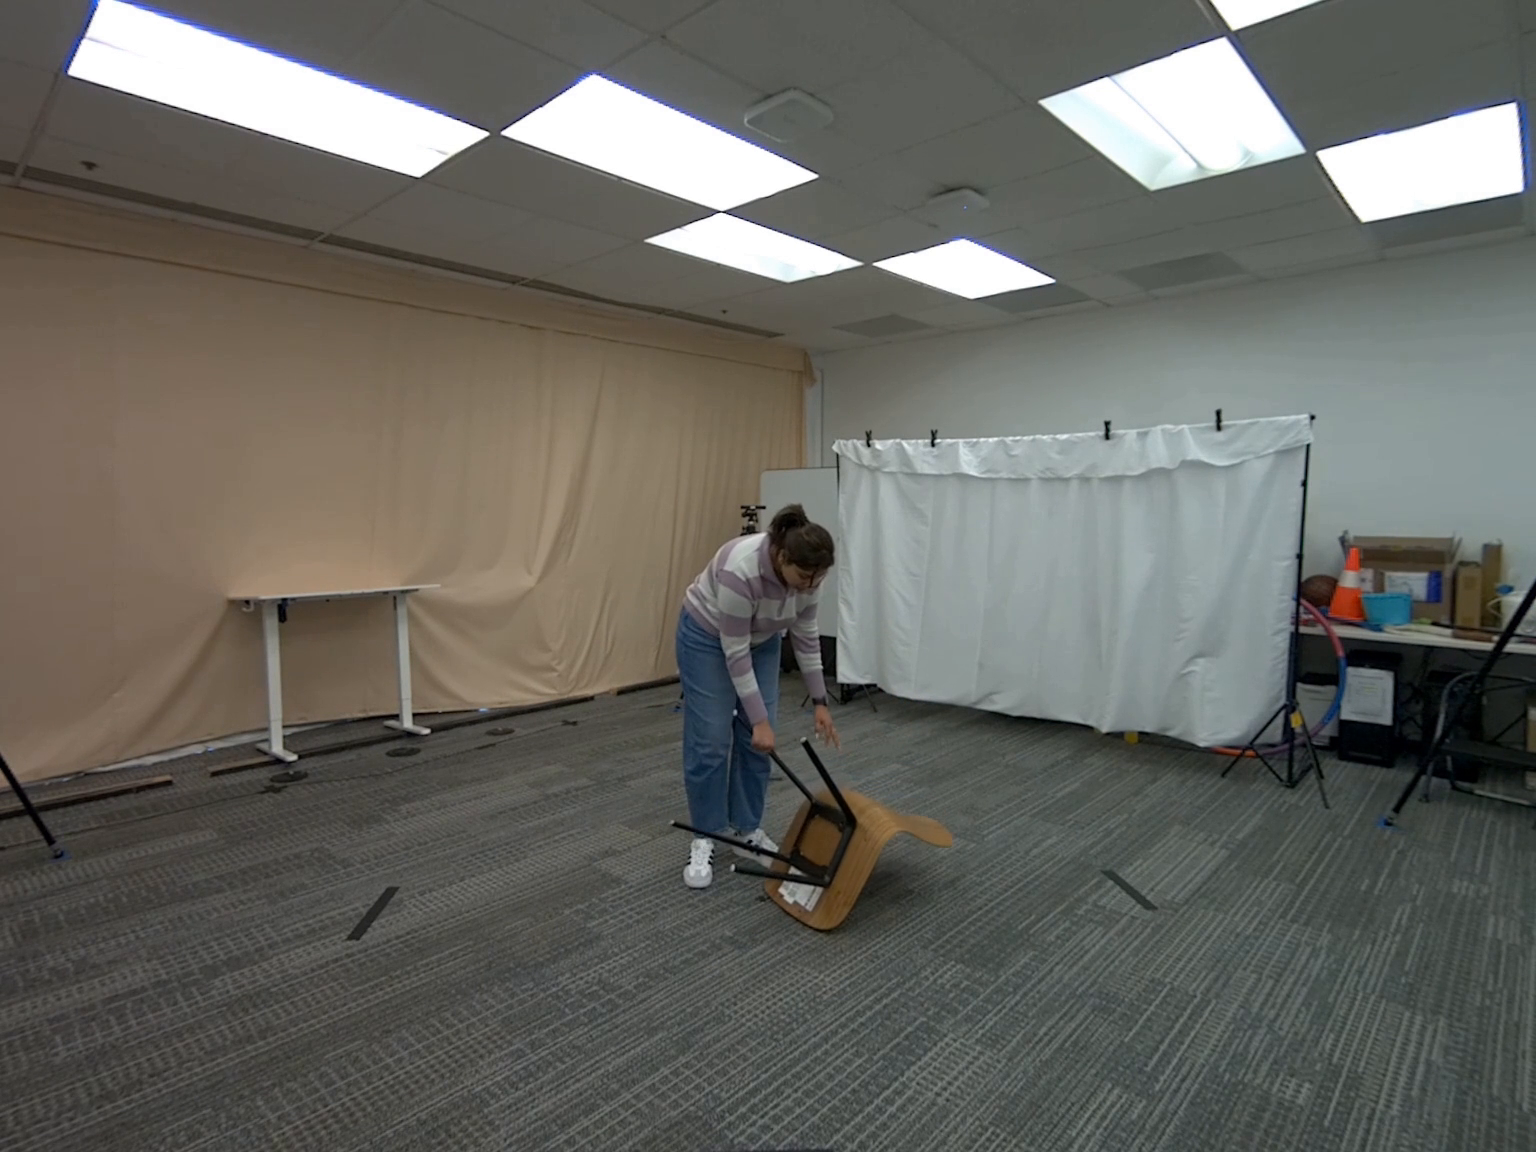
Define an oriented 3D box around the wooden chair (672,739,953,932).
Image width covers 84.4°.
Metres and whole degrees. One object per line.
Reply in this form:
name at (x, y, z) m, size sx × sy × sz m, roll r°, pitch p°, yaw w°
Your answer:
wooden chair at (0.185, 0.934, 2.938) m, size 0.852 × 0.523 × 0.492 m, roll 34°, pitch -15°, yaw -26°
